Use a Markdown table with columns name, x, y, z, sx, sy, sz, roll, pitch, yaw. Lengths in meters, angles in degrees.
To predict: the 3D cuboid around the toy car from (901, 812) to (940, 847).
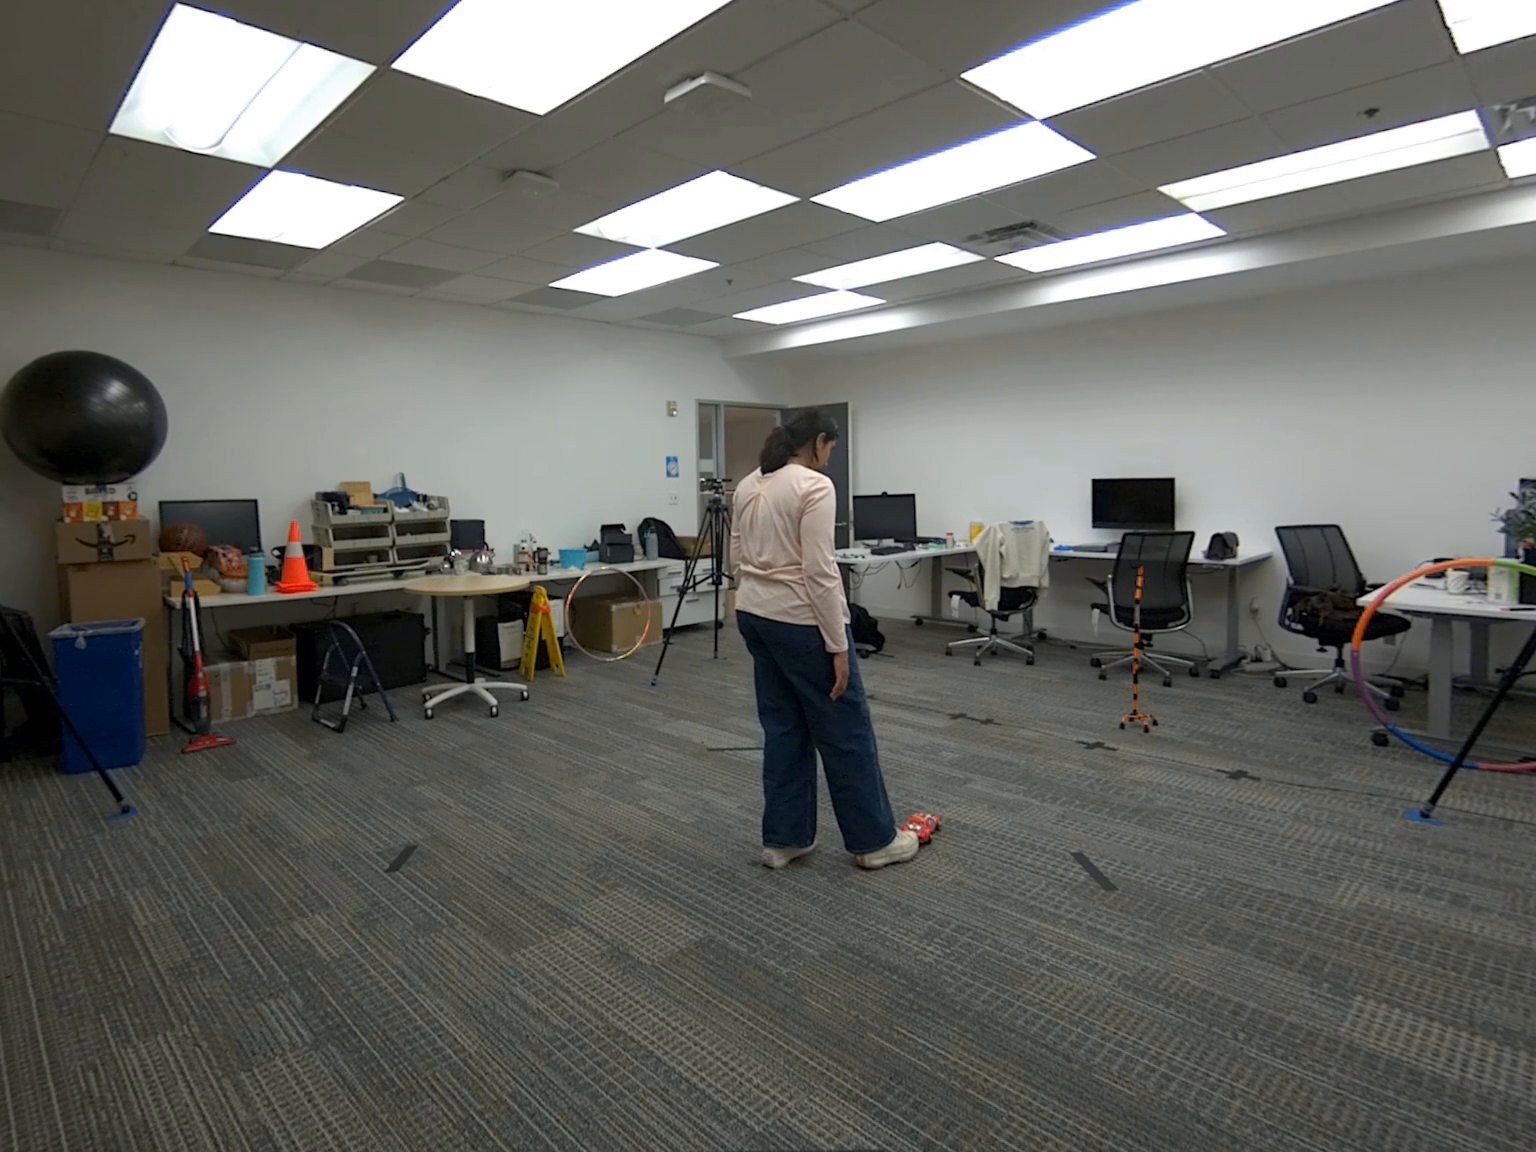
| name | x | y | z | sx | sy | sz | roll | pitch | yaw |
| --- | --- | --- | --- | --- | --- | --- | --- | --- | --- |
| toy car | 0.593 | 0.981 | 3.312 | 0.133 | 0.083 | 0.247 | 3 | -4 | 25 |
